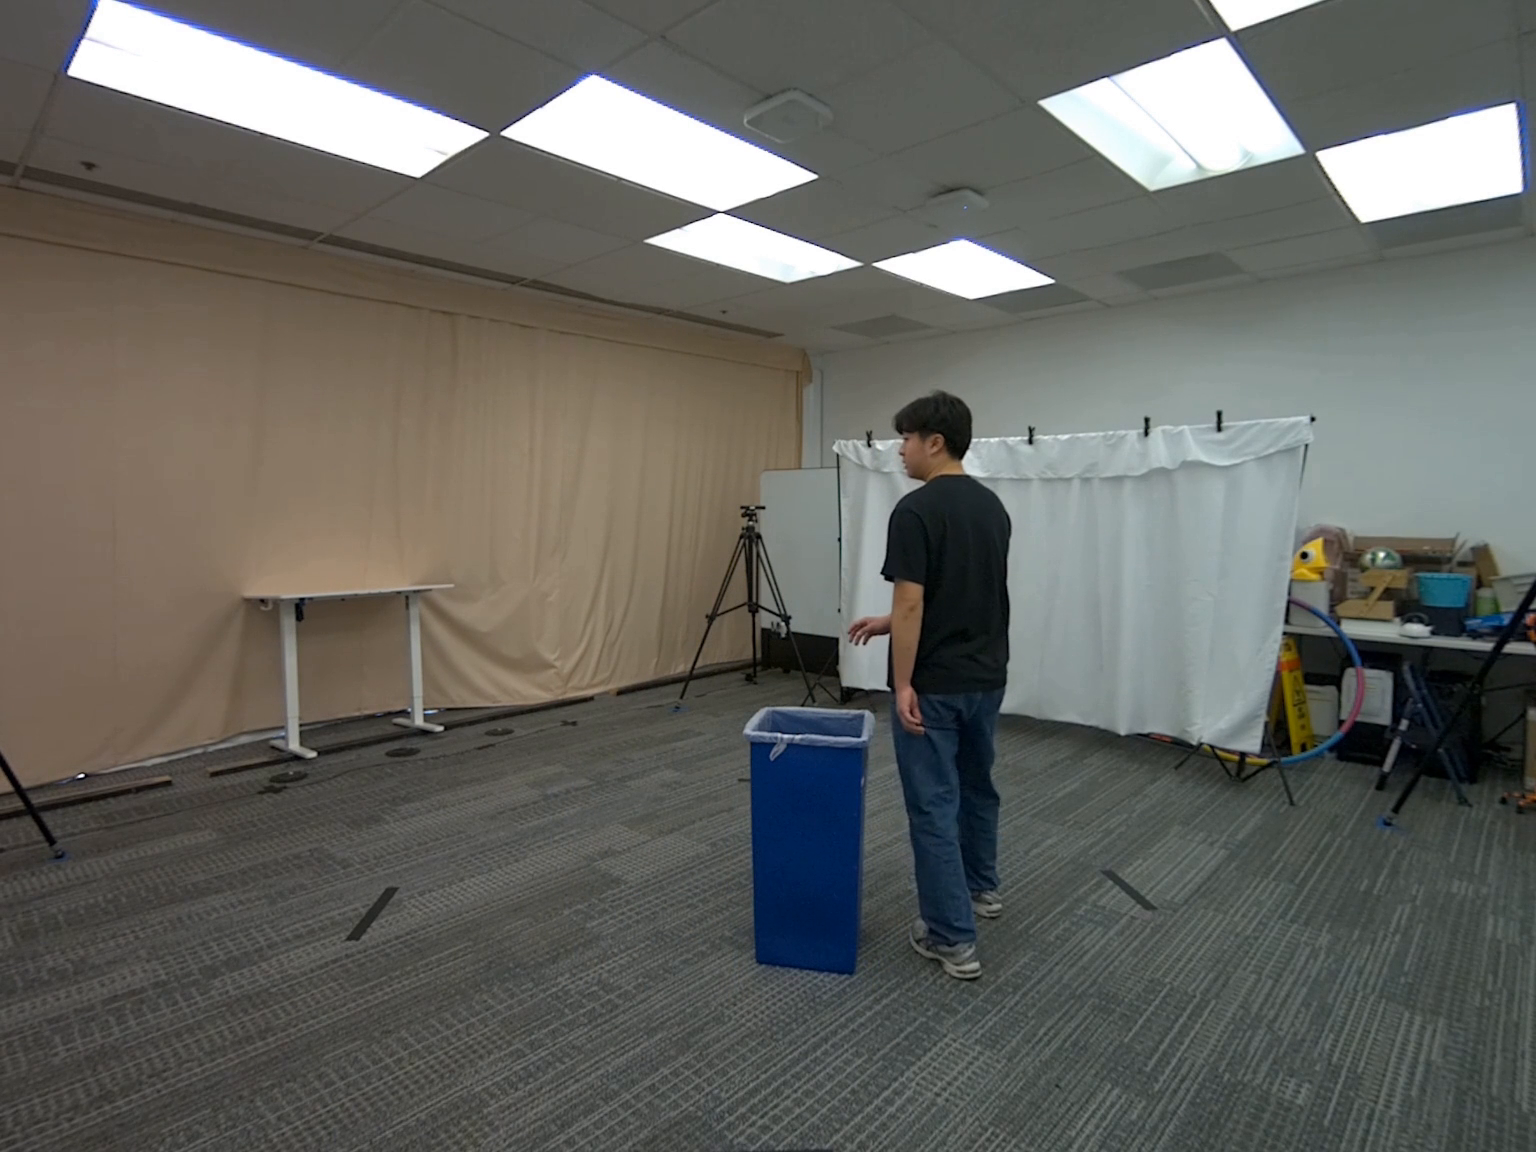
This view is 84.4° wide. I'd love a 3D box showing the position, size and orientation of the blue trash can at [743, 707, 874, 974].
[{"bbox_3d":[0.144,0.814,2.654,0.383,0.713,0.369,0,1,11],"label":"blue trash can"}]
